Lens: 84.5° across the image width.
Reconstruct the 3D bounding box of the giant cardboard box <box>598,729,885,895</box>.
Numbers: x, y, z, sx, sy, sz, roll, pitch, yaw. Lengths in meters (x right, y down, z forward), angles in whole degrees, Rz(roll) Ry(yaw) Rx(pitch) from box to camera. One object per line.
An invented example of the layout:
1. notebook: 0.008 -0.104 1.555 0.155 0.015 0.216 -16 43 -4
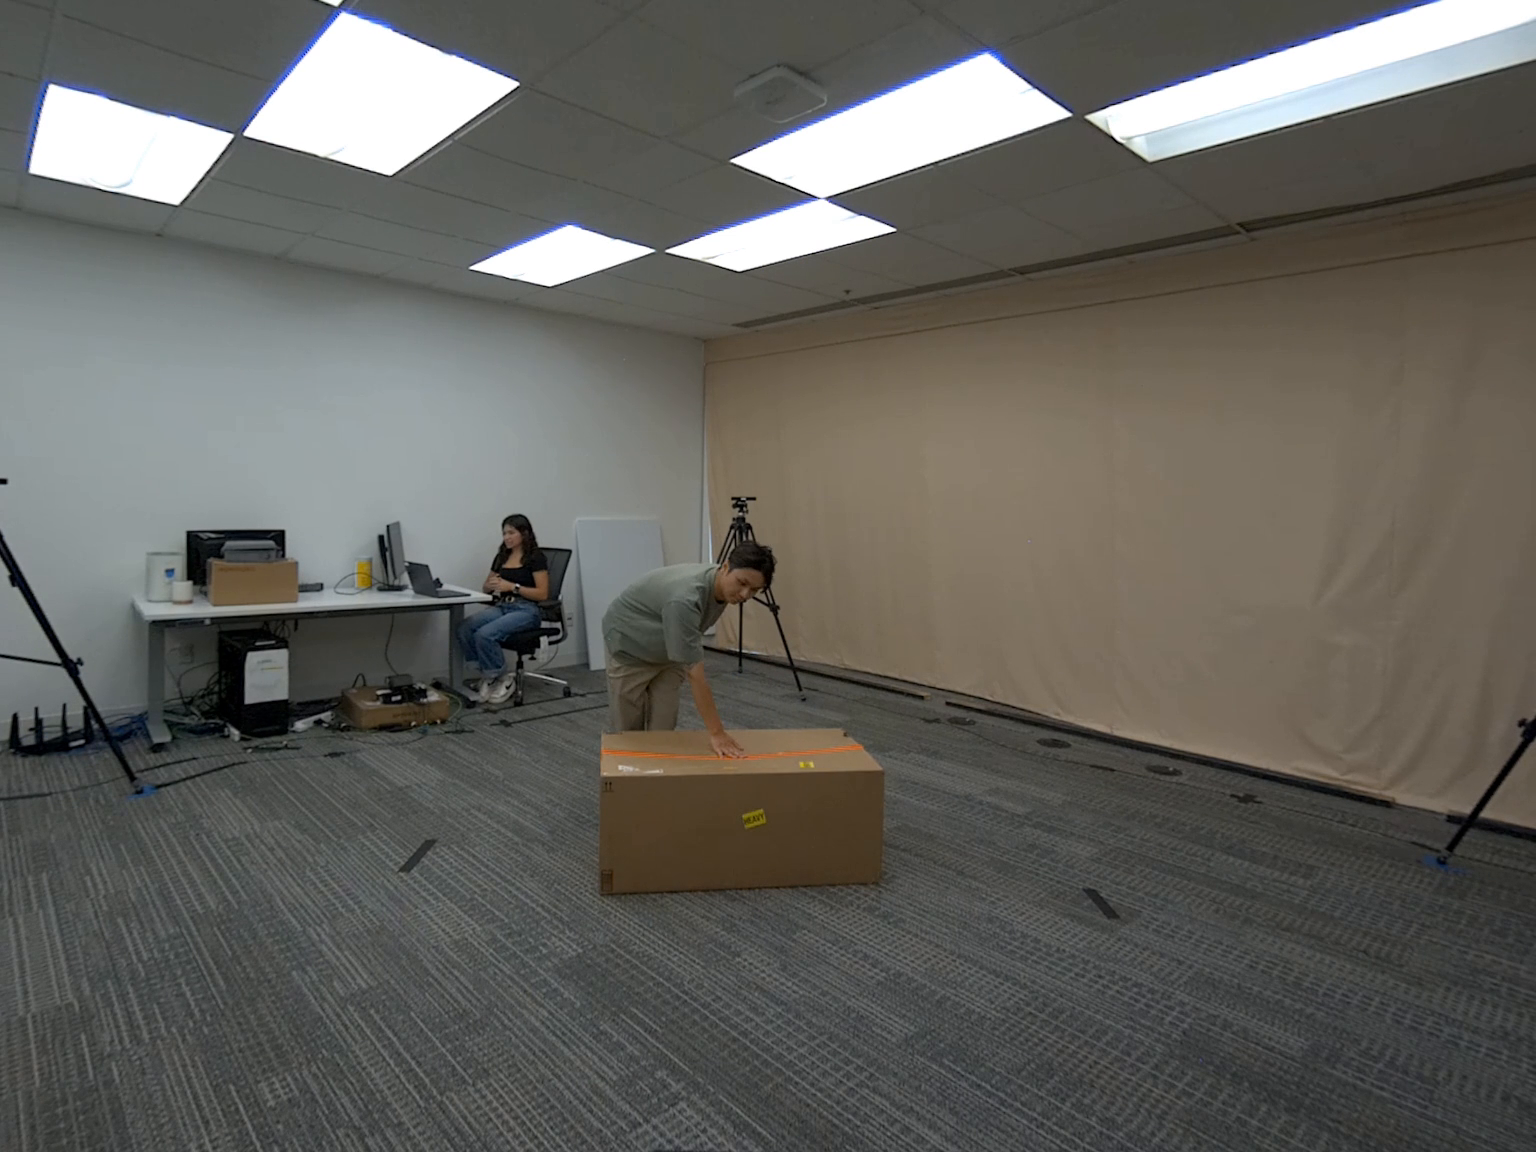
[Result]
1. giant cardboard box: -0.138 0.883 3.264 1.018 0.425 0.583 0 5 -9
